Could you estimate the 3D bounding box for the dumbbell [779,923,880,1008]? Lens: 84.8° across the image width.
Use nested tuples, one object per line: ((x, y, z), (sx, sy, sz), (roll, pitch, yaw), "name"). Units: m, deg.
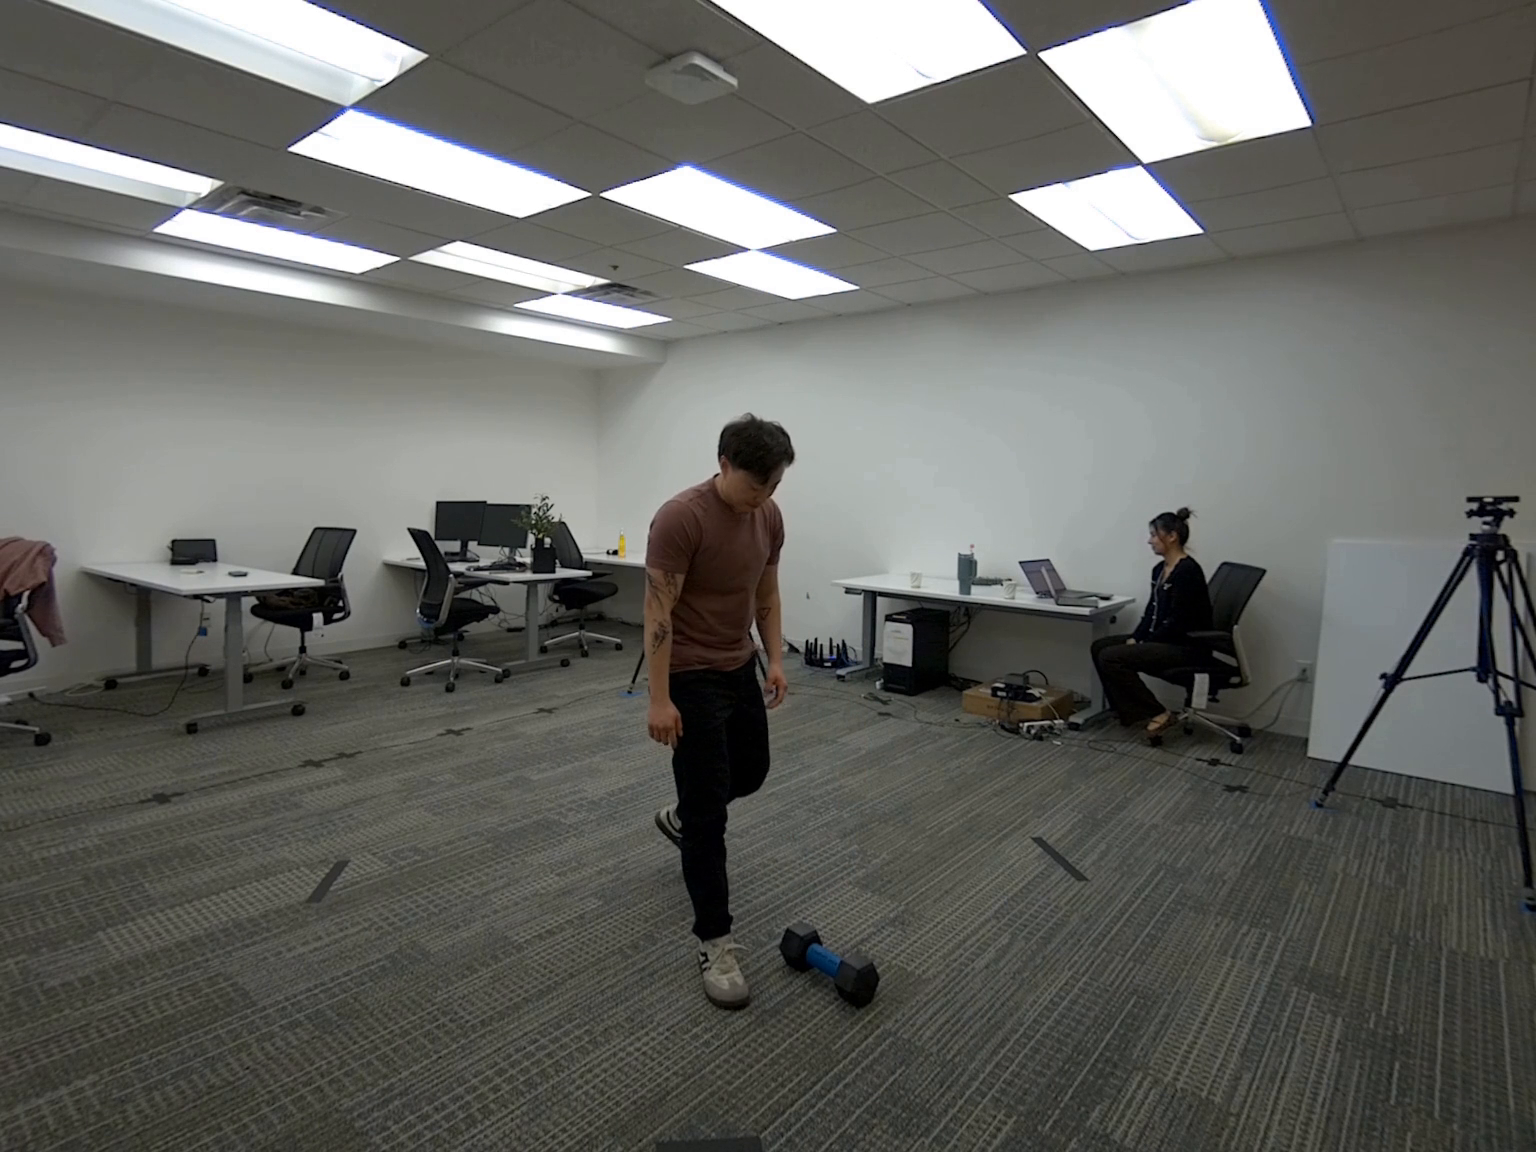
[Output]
((0.163, 1.089, 2.401), (0.303, 0.119, 0.108), (6, 36, 48), "dumbbell")
